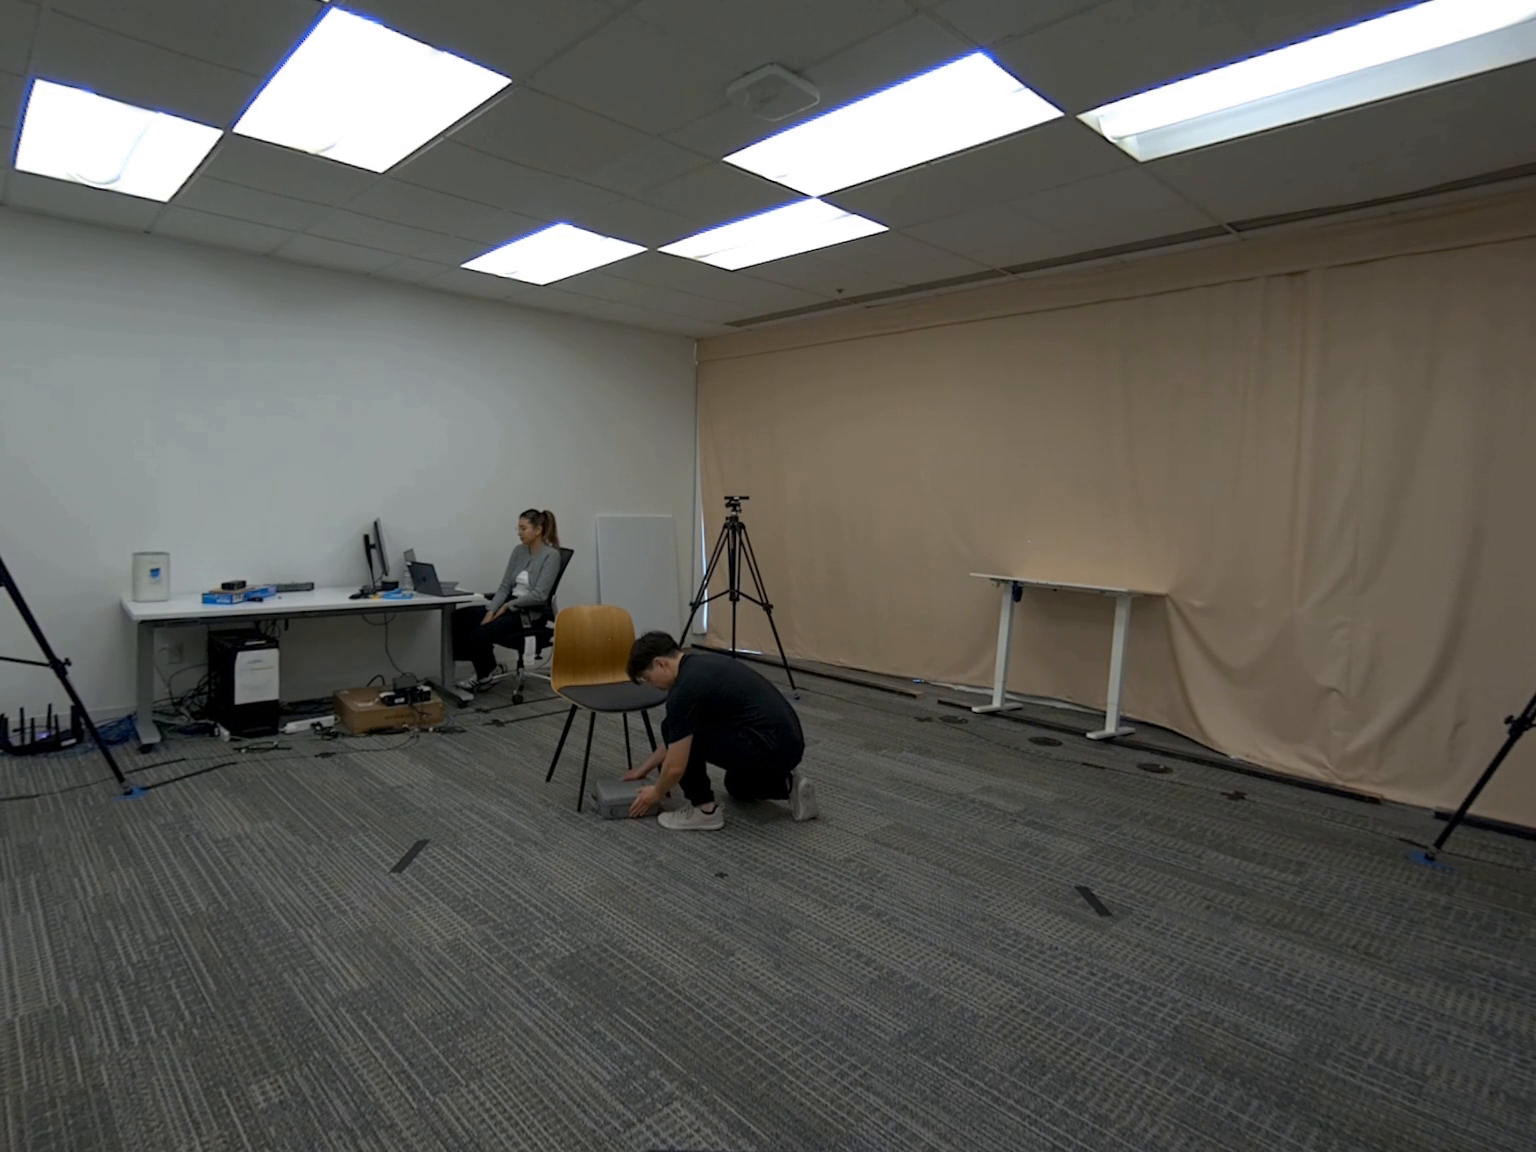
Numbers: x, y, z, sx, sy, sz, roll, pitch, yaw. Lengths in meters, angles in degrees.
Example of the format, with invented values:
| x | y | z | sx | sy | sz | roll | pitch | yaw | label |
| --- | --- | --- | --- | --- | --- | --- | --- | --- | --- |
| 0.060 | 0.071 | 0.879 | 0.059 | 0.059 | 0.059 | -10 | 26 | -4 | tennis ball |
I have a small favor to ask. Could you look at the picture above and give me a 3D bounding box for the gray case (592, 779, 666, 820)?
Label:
| x | y | z | sx | sy | sz | roll | pitch | yaw | label |
| --- | --- | --- | --- | --- | --- | --- | --- | --- | --- |
| -0.639 | 0.977 | 3.738 | 0.257 | 0.104 | 0.261 | -2 | 5 | -17 | gray case |
